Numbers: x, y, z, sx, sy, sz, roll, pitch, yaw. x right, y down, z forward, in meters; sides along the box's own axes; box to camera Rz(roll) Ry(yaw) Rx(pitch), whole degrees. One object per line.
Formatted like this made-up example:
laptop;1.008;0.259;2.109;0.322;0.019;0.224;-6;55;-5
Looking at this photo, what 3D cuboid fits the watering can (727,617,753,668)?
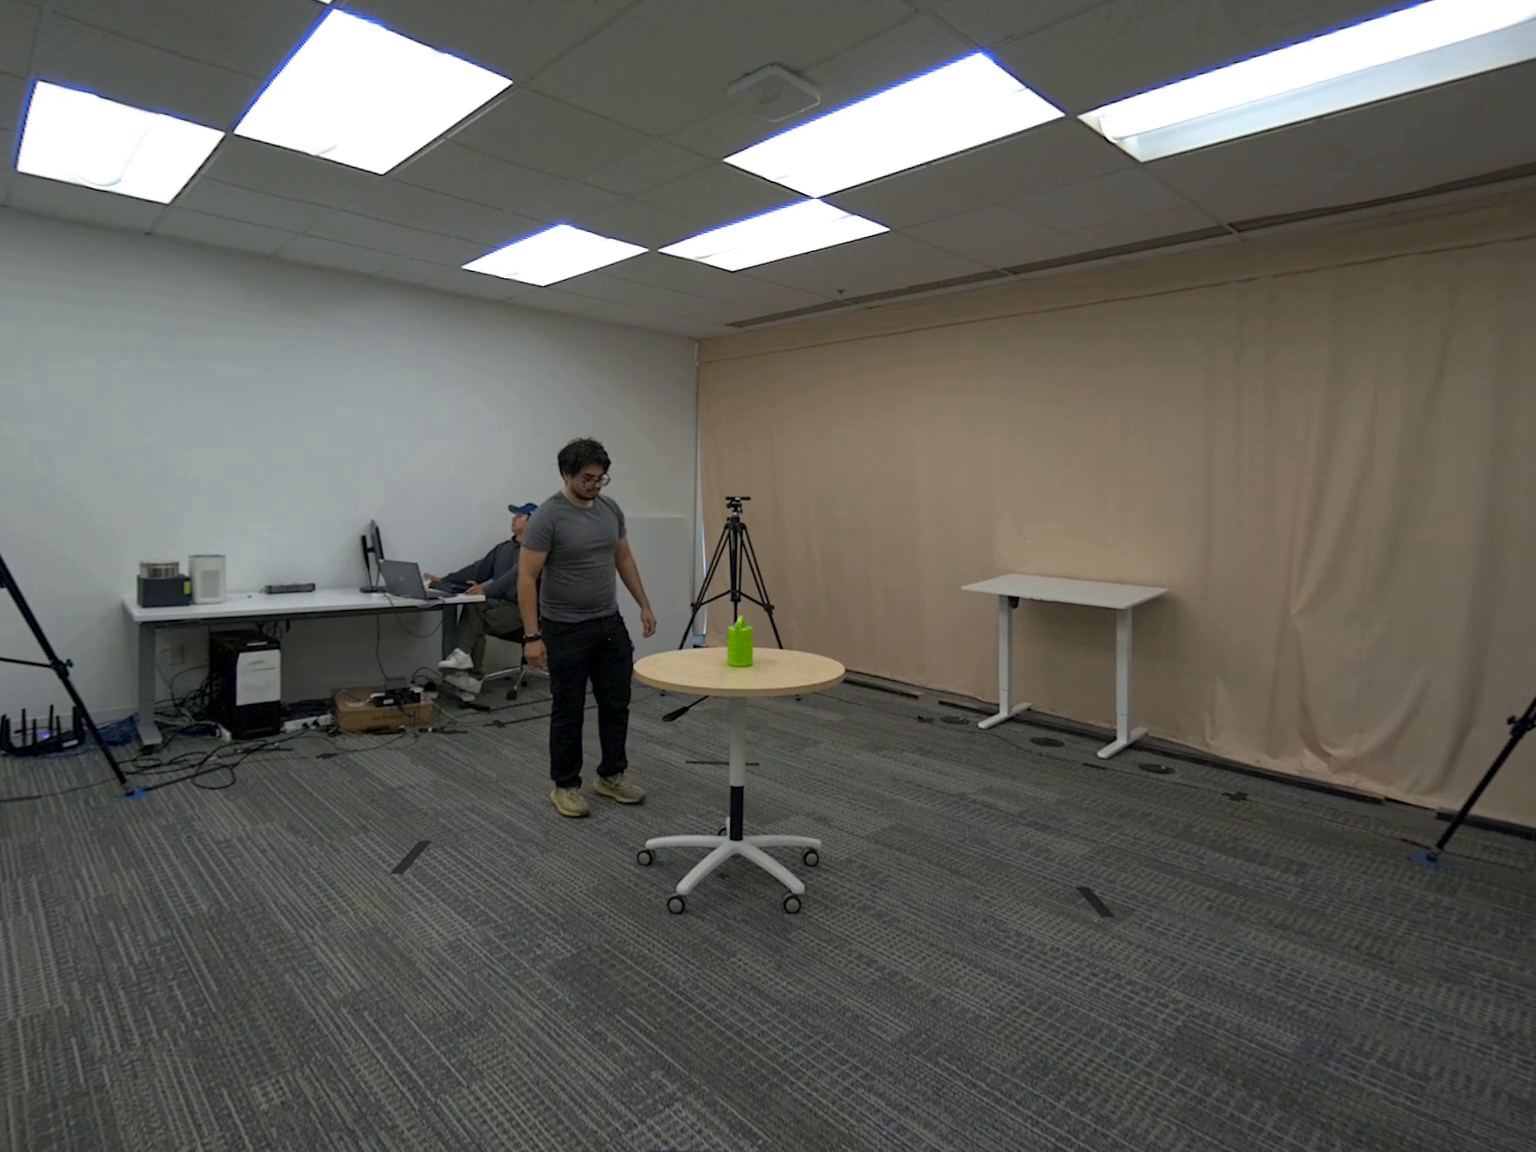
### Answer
watering can;-0.128;0.247;3.044;0.099;0.176;0.274;1;5;20
